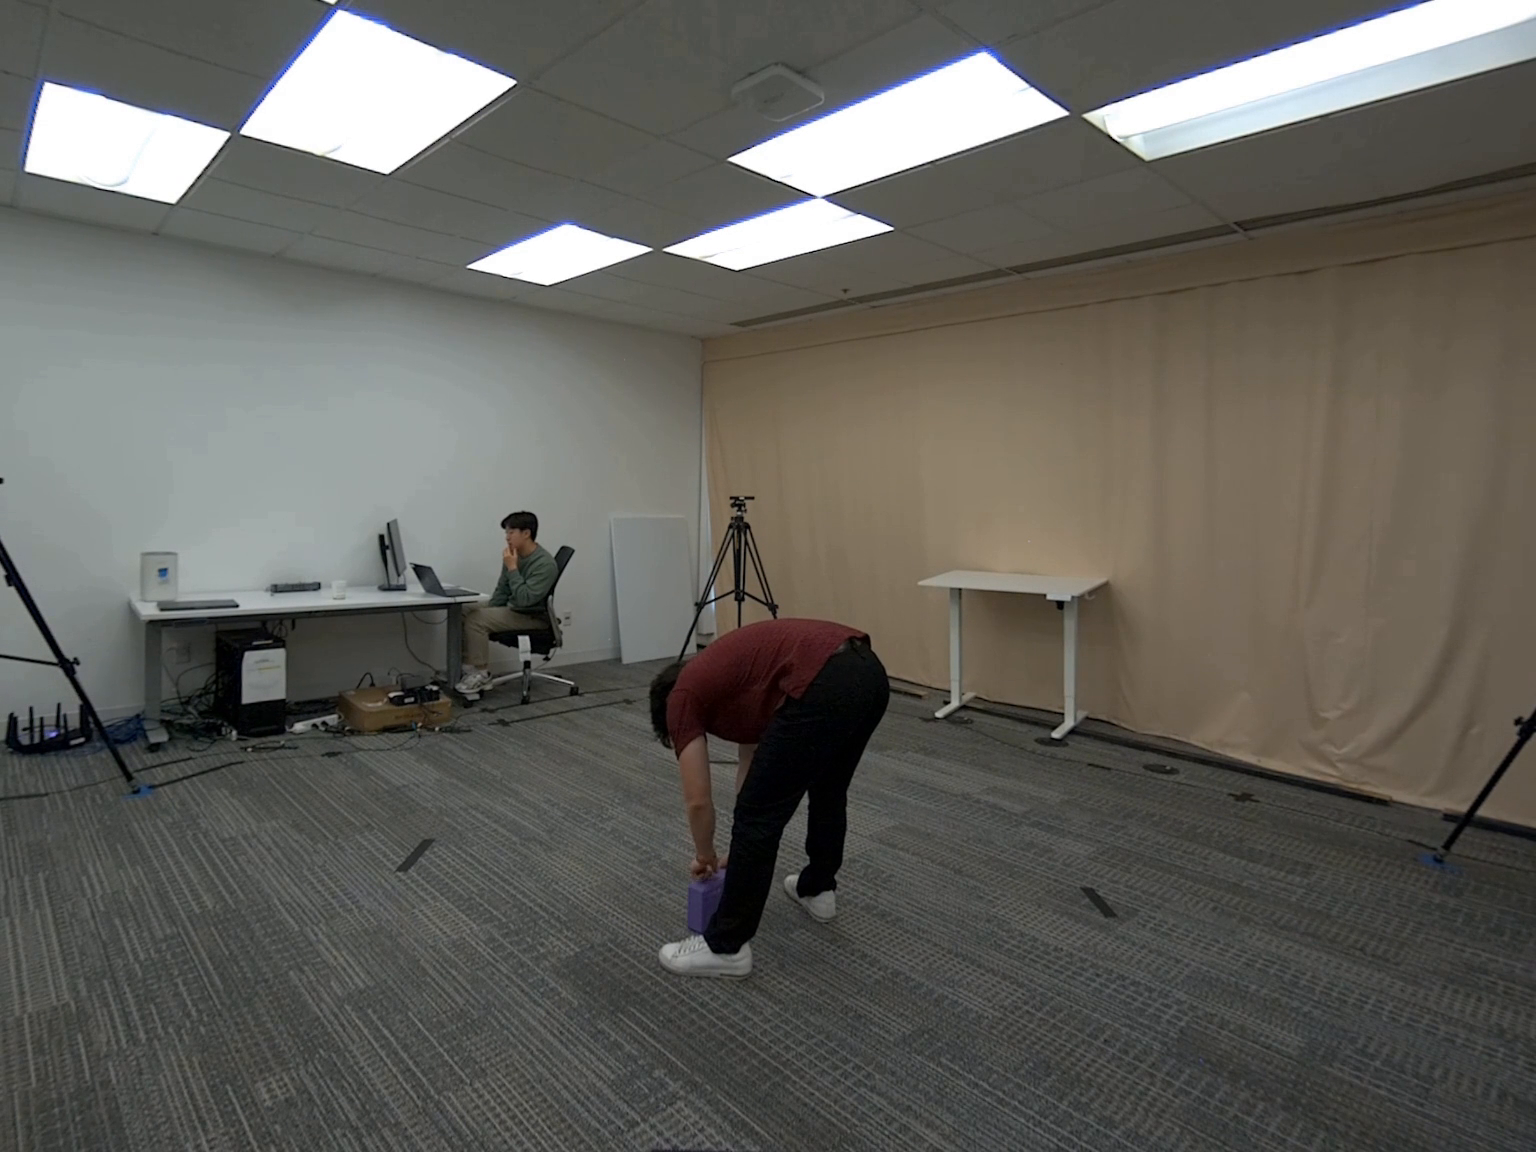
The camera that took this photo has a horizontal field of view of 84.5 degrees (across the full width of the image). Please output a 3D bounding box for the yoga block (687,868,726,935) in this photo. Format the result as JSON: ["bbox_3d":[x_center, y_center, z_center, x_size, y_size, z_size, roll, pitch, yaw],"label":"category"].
[{"bbox_3d":[-0.167,1.058,2.772,0.078,0.148,0.224,6,7,35],"label":"yoga block"}]
